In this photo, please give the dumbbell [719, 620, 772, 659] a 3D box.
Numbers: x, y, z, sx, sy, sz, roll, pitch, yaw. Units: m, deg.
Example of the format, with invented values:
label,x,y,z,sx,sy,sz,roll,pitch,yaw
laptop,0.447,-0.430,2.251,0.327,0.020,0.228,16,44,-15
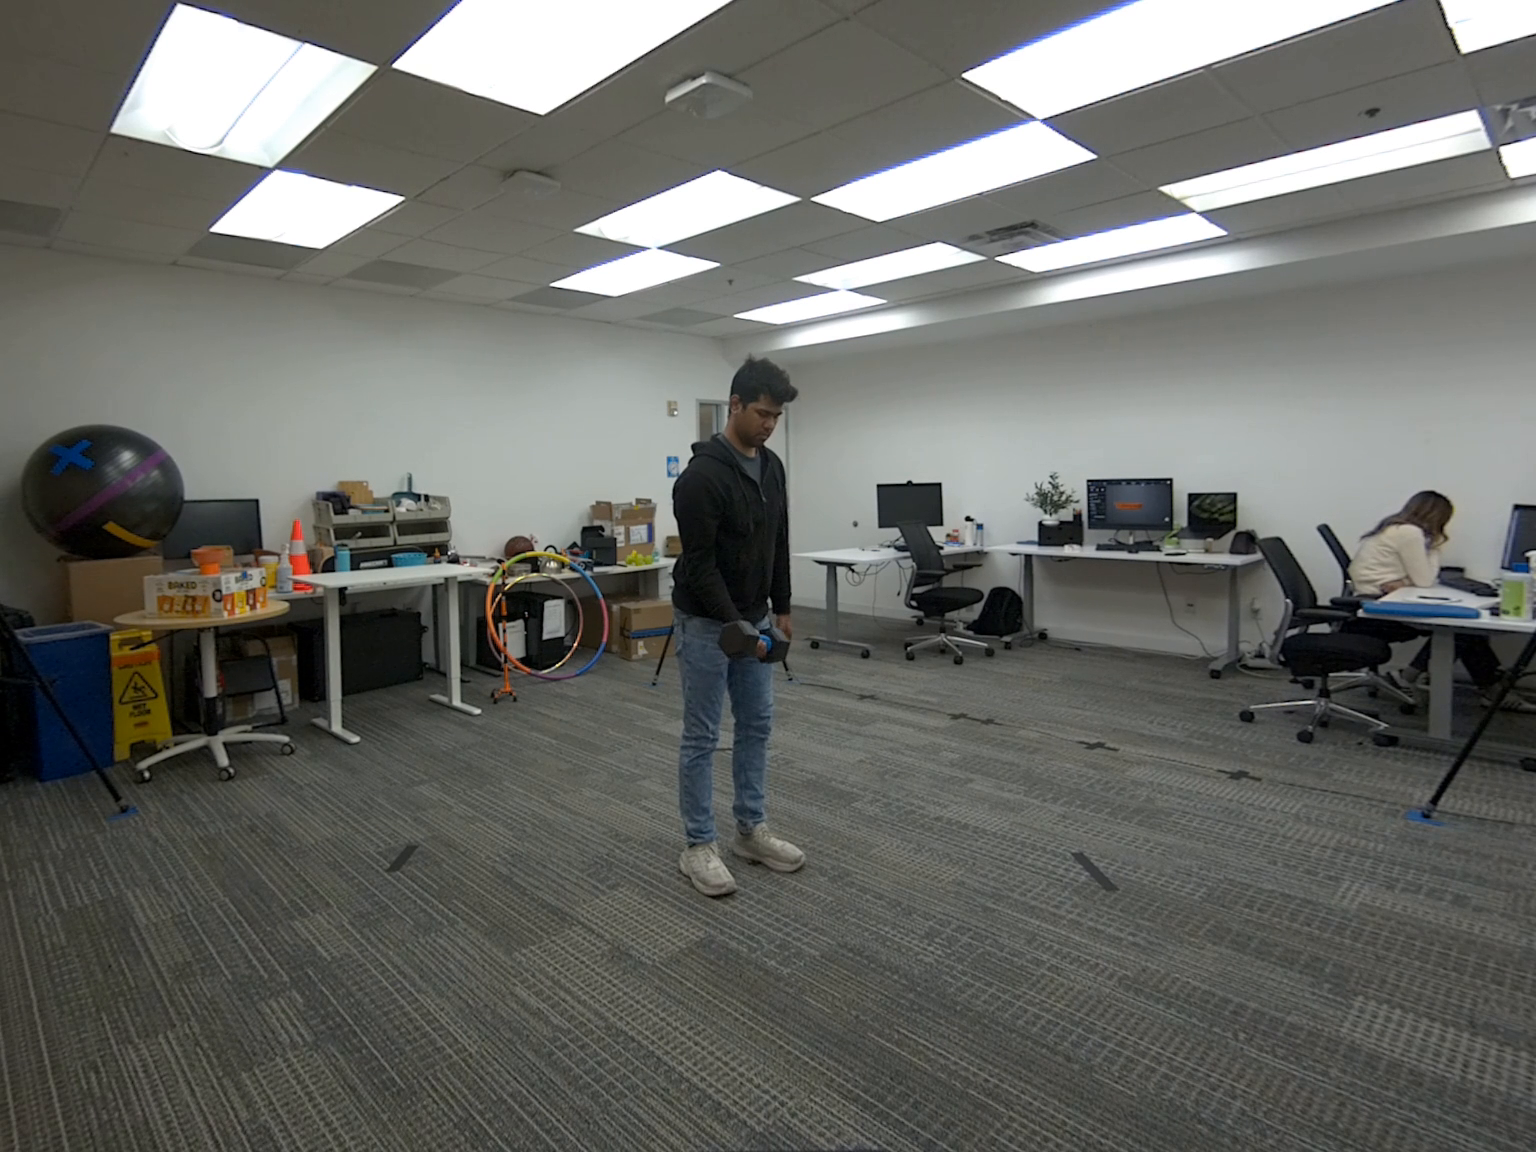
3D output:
label,x,y,z,sx,sy,sz,roll,pitch,yaw
dumbbell,-0.038,0.199,2.741,0.127,0.109,0.284,49,14,26
